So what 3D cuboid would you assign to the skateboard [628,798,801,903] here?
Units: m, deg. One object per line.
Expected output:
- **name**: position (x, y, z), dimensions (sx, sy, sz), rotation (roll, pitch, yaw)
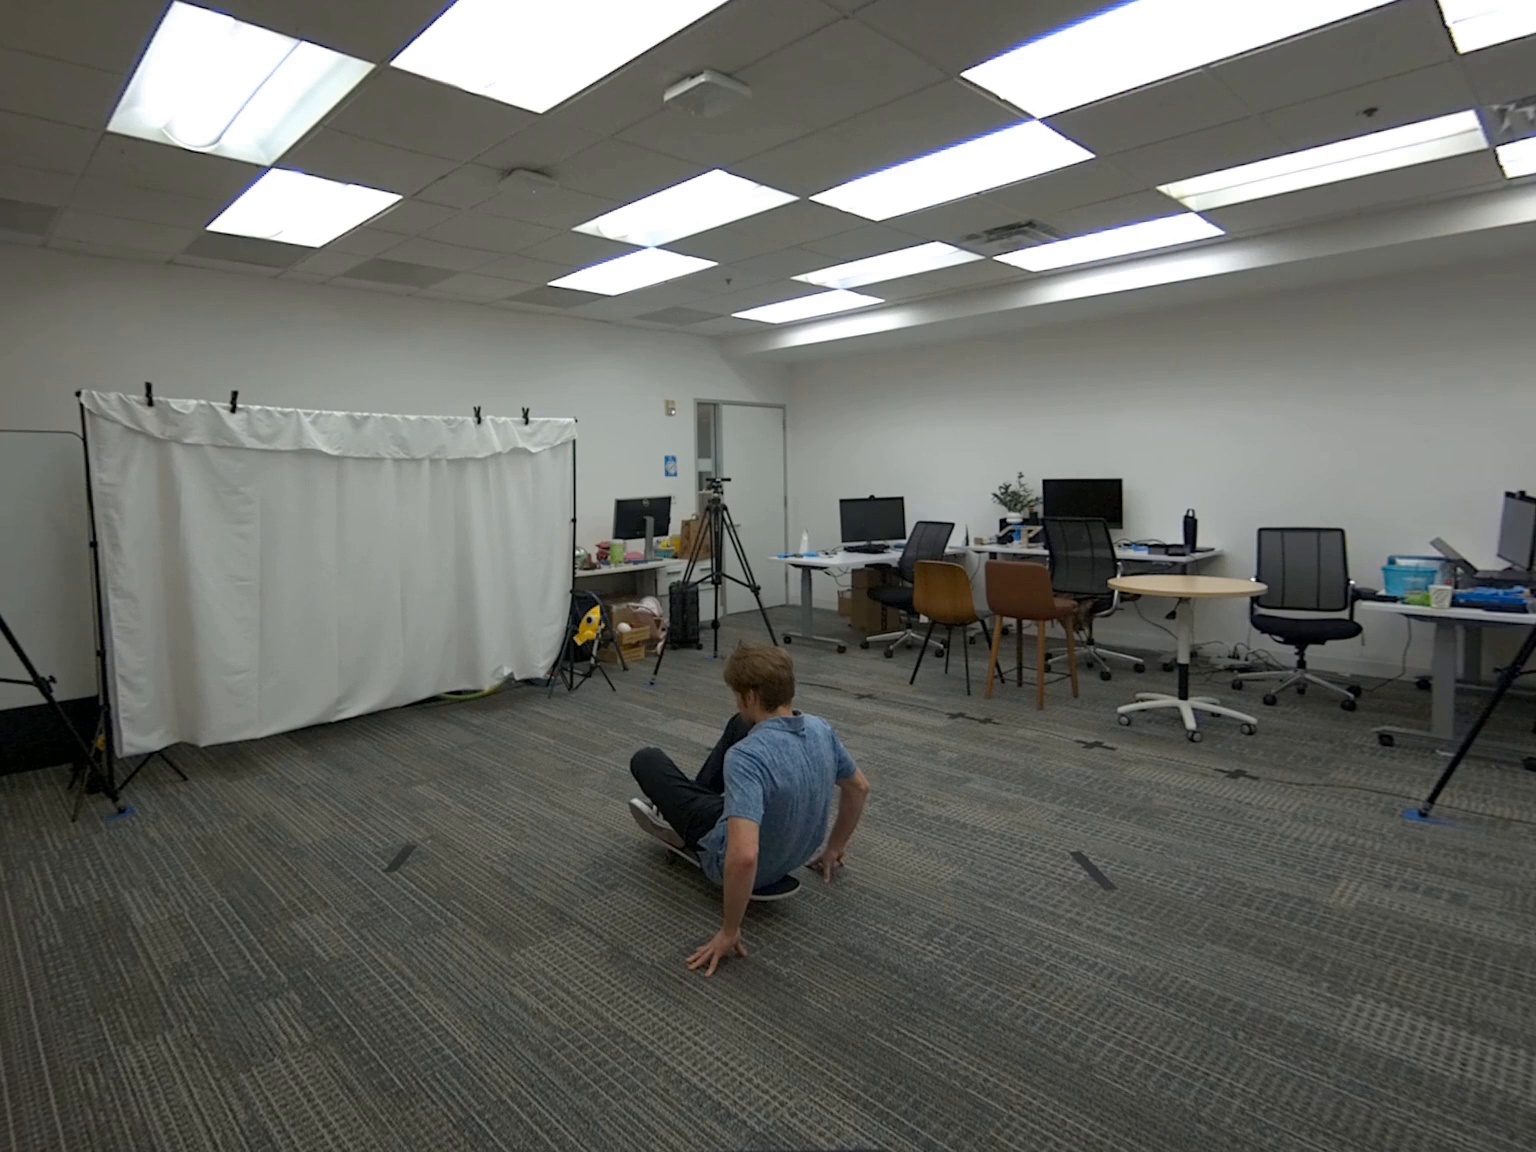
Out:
- **skateboard**: position (-0.186, 1.004, 2.993), dimensions (0.189, 0.109, 0.810), rotation (-7, 10, -38)
